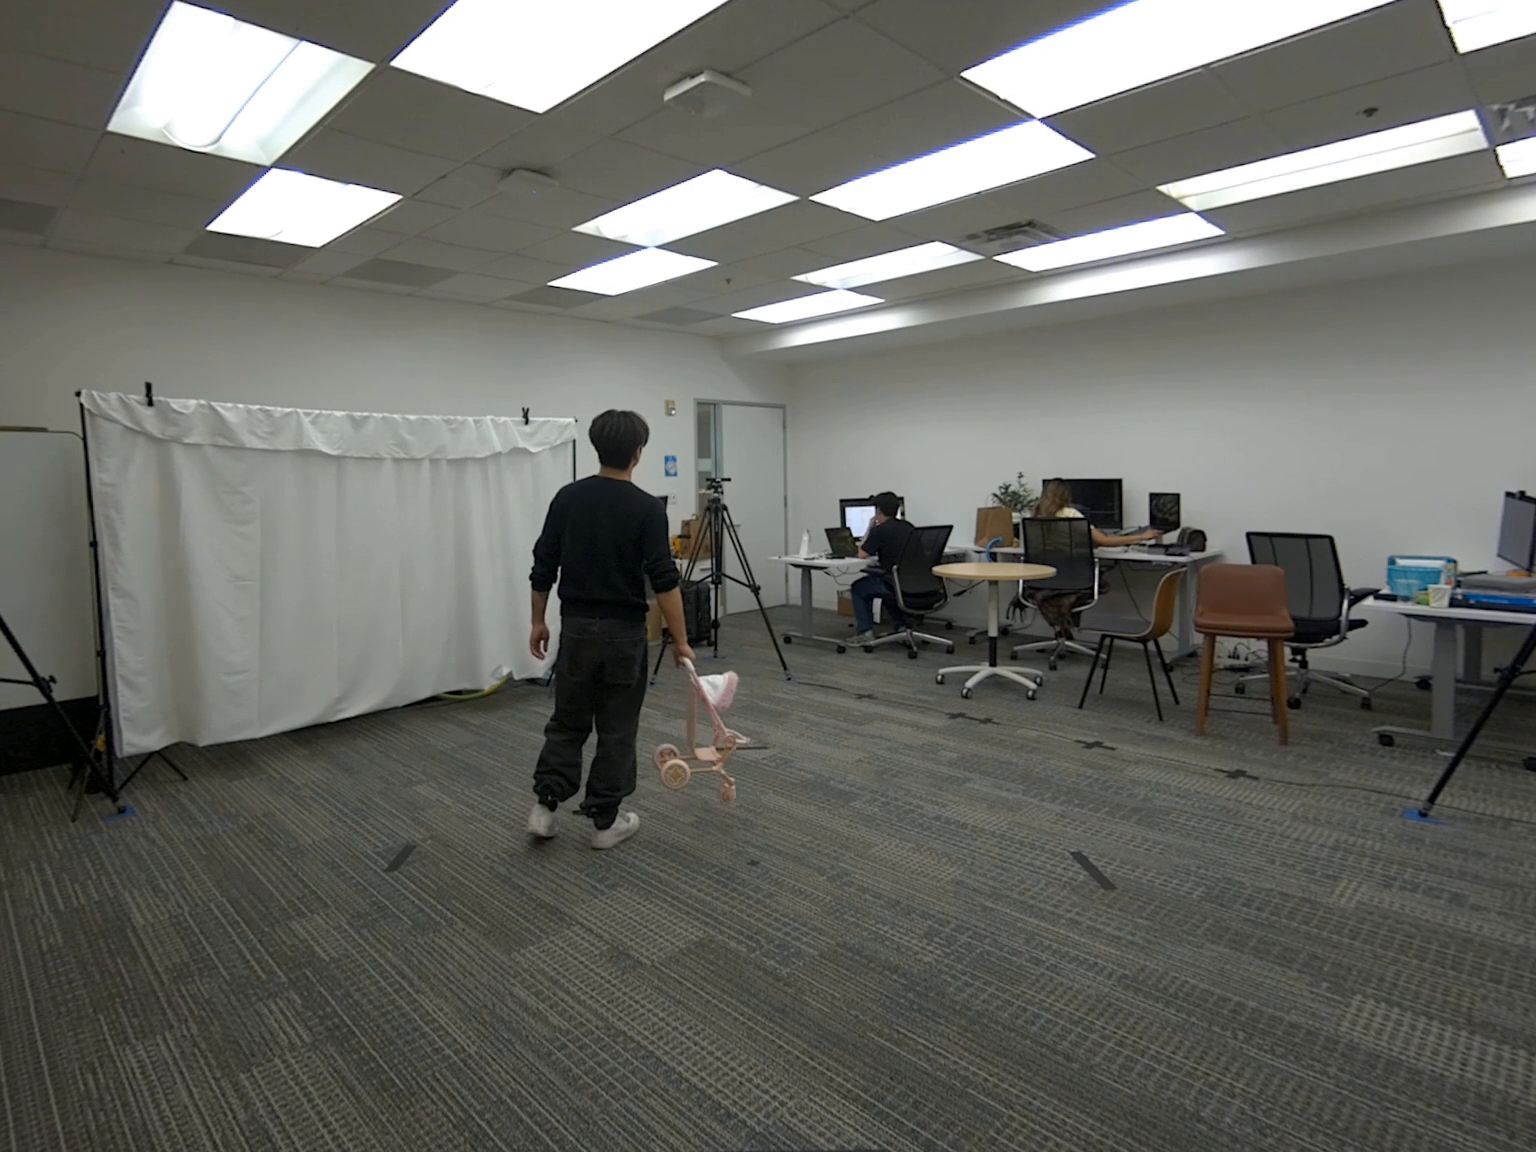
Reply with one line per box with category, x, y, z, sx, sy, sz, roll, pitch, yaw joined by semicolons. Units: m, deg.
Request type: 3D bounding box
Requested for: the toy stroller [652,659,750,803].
toy stroller;-0.234;0.590;3.264;0.339;0.536;0.283;13;-3;-7
